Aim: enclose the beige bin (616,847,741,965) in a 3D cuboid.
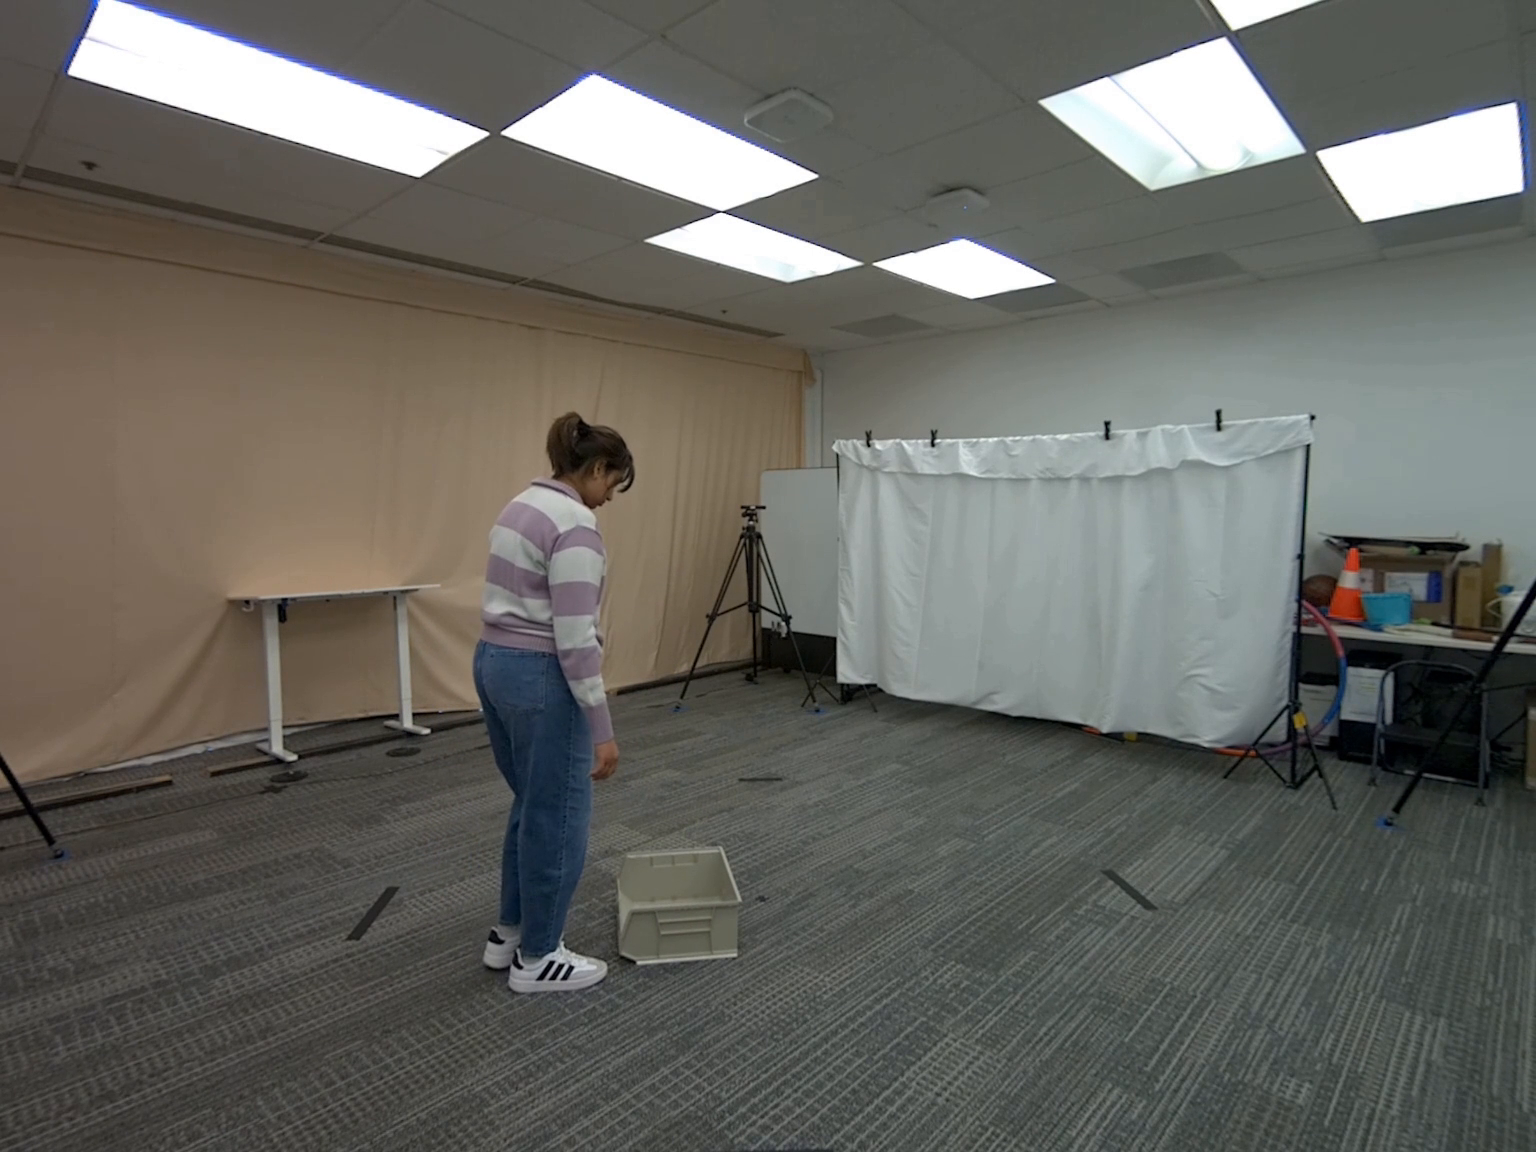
[{"bbox_3d":[-0.306,1.077,2.765,0.374,0.188,0.427,0,3,-10],"label":"beige bin"}]
